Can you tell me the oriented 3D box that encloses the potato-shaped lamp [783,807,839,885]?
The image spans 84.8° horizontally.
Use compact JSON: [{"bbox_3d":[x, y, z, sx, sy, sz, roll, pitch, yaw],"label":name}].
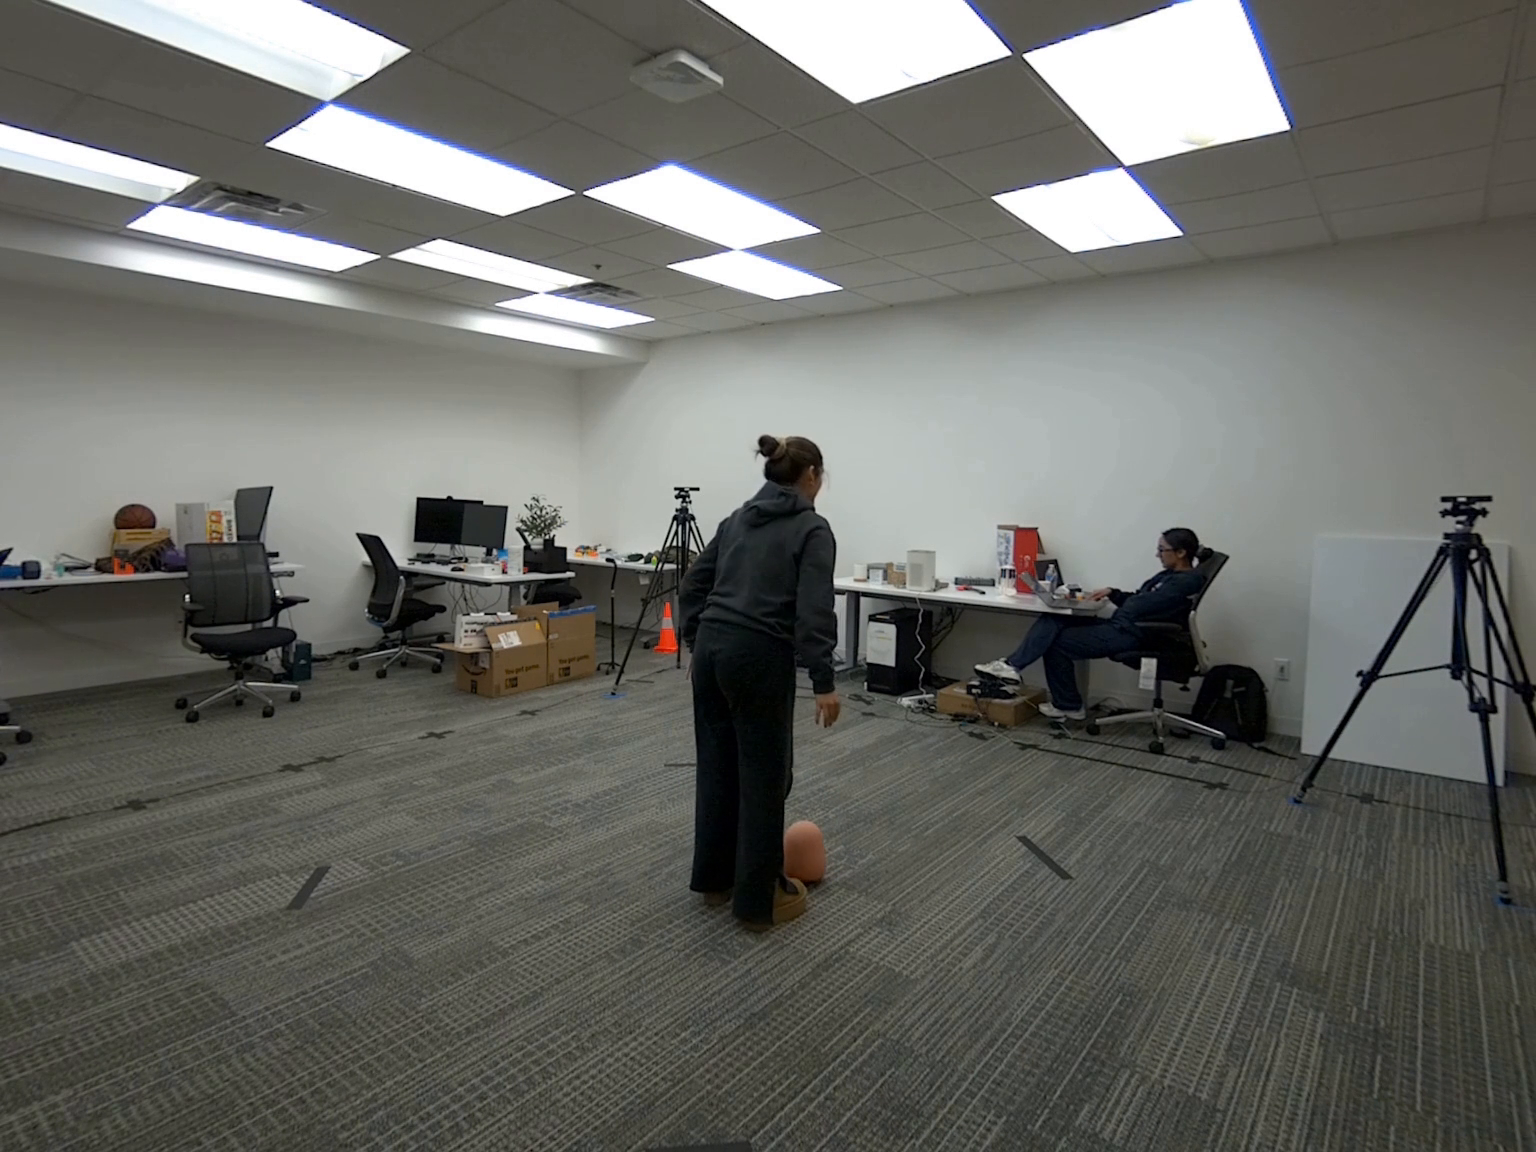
[{"bbox_3d":[0.129,0.968,3.032,0.170,0.199,0.165,3,-3,36],"label":"potato-shaped lamp"}]
